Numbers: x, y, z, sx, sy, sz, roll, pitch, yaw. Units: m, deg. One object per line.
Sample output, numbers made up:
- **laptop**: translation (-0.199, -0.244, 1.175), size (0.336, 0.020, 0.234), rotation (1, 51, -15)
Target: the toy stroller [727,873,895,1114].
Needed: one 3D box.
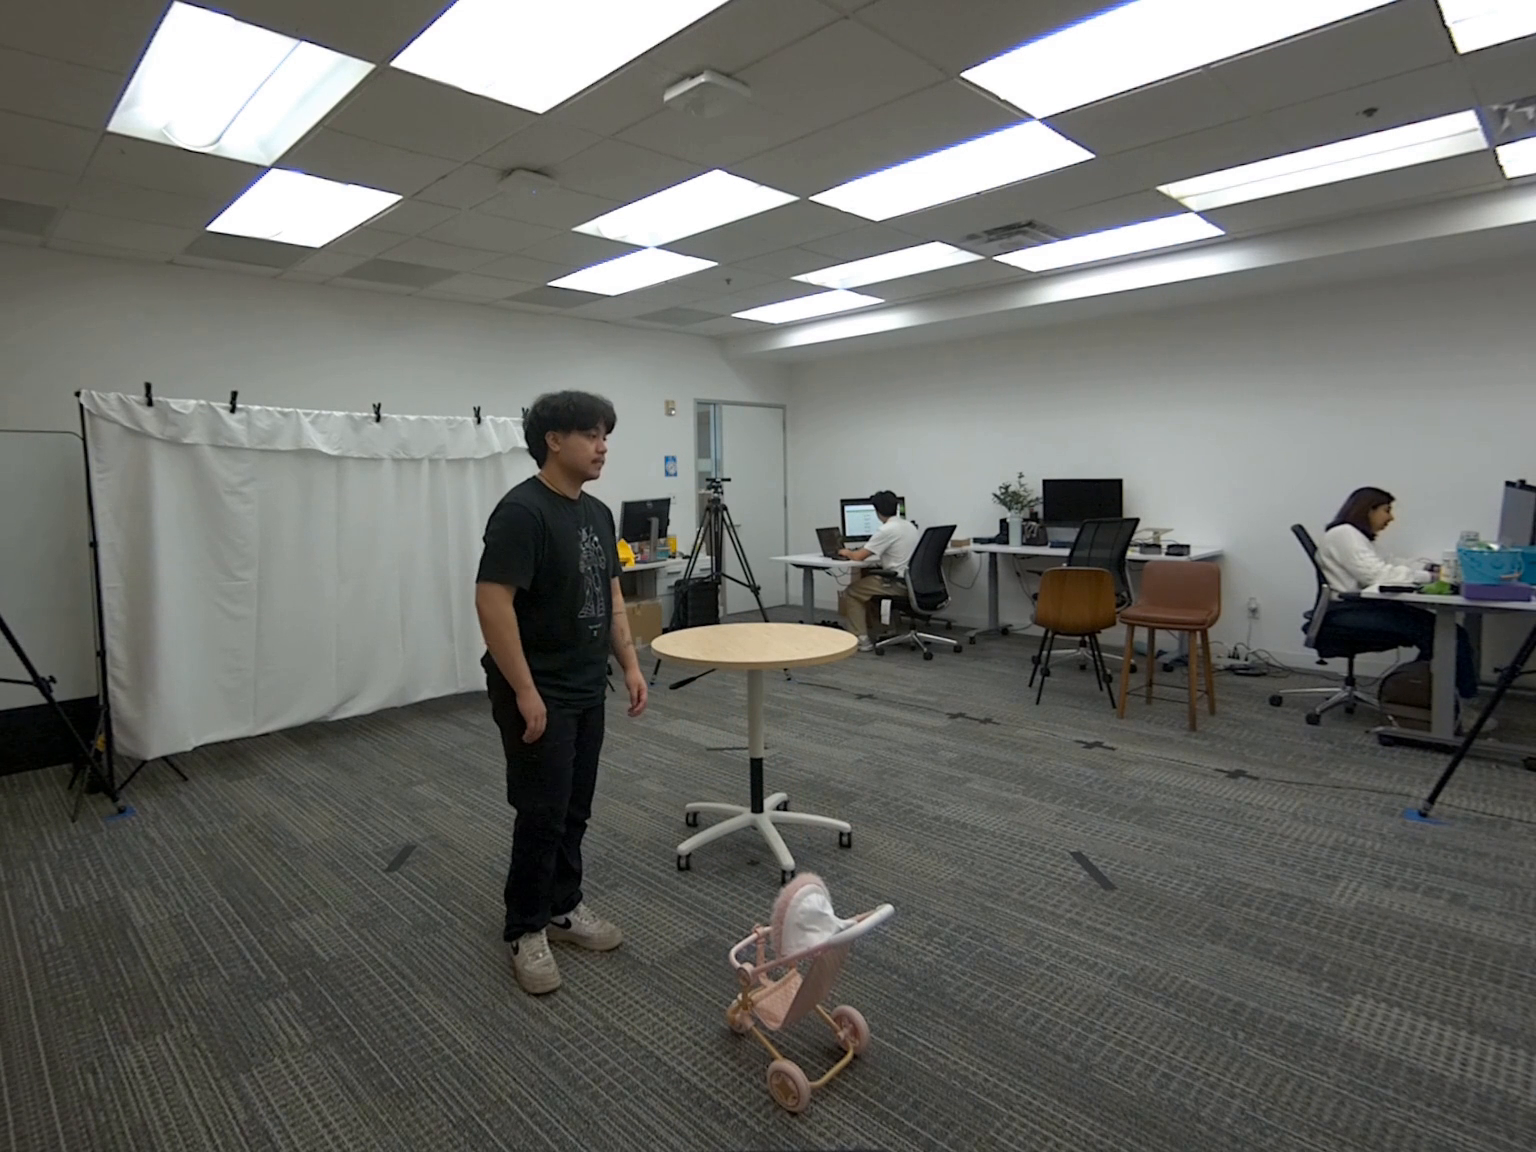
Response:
- **toy stroller**: translation (0.075, 0.946, 2.018), size (0.354, 0.529, 0.274), rotation (23, 20, 40)
